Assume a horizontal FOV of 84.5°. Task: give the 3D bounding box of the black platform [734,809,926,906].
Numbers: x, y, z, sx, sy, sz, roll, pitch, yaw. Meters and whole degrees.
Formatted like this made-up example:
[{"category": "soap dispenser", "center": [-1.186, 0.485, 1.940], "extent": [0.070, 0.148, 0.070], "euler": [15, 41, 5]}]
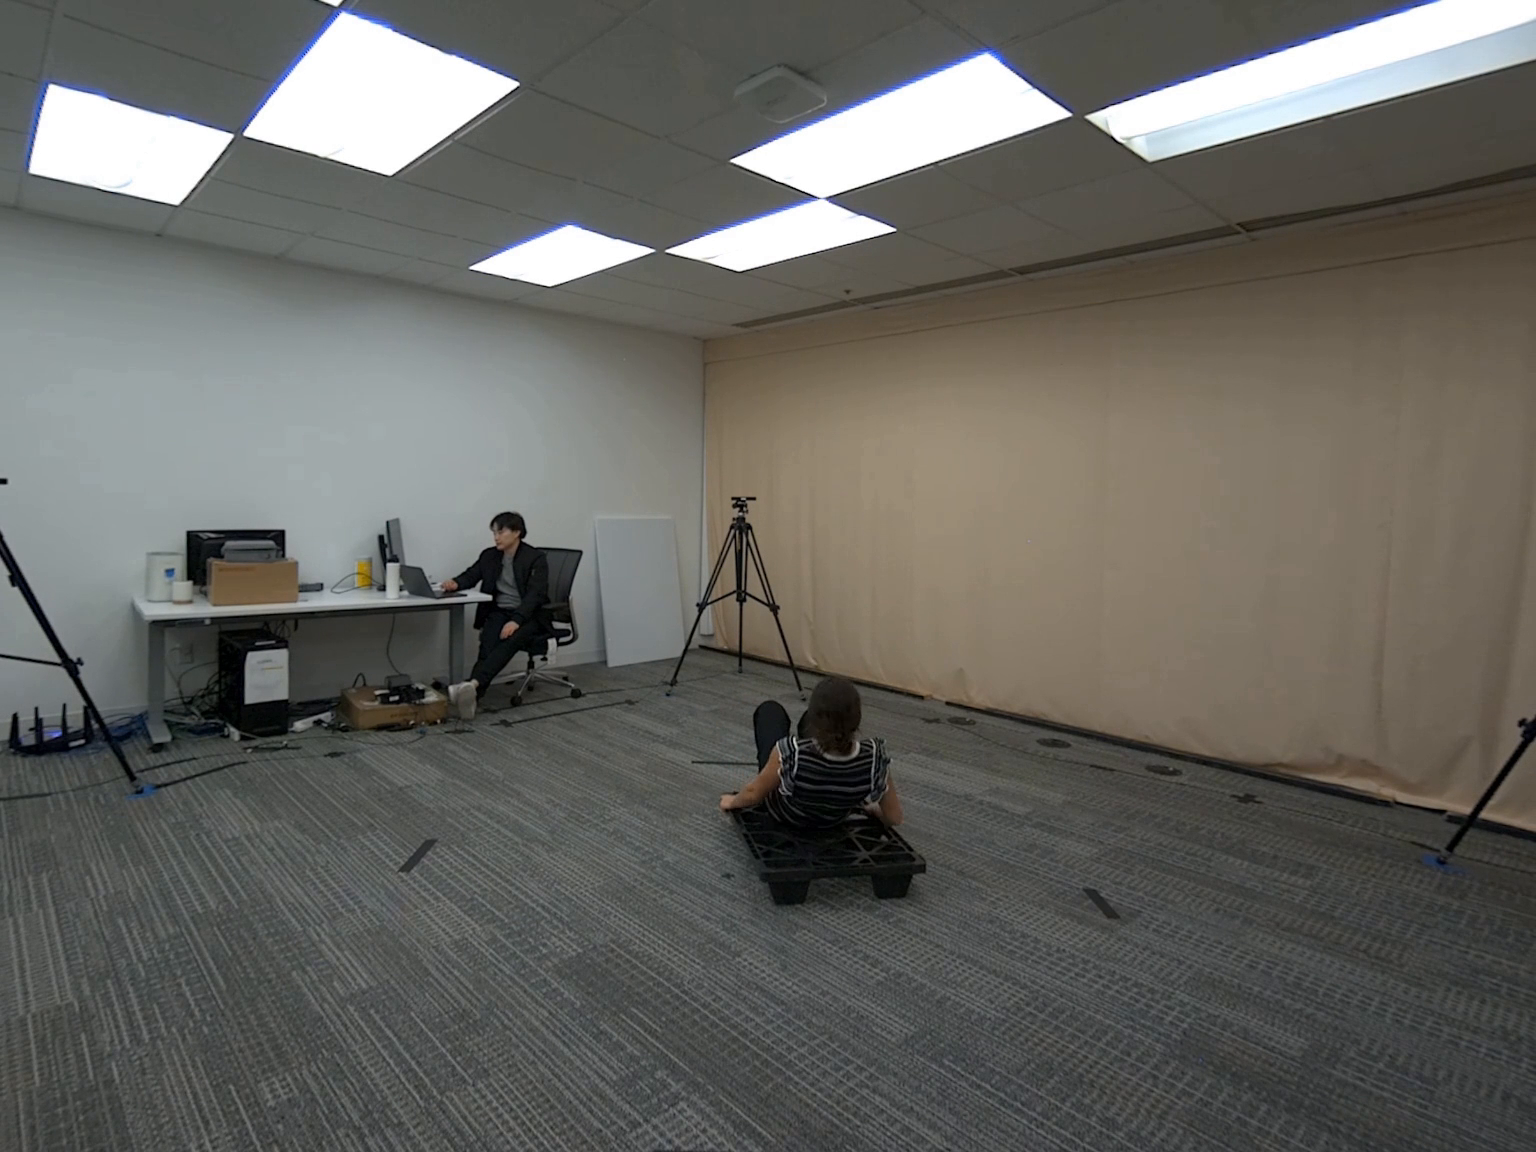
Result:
[{"category": "black platform", "center": [0.168, 1.031, 3.274], "extent": [0.600, 0.143, 0.814], "euler": [1, 4, -11]}]
